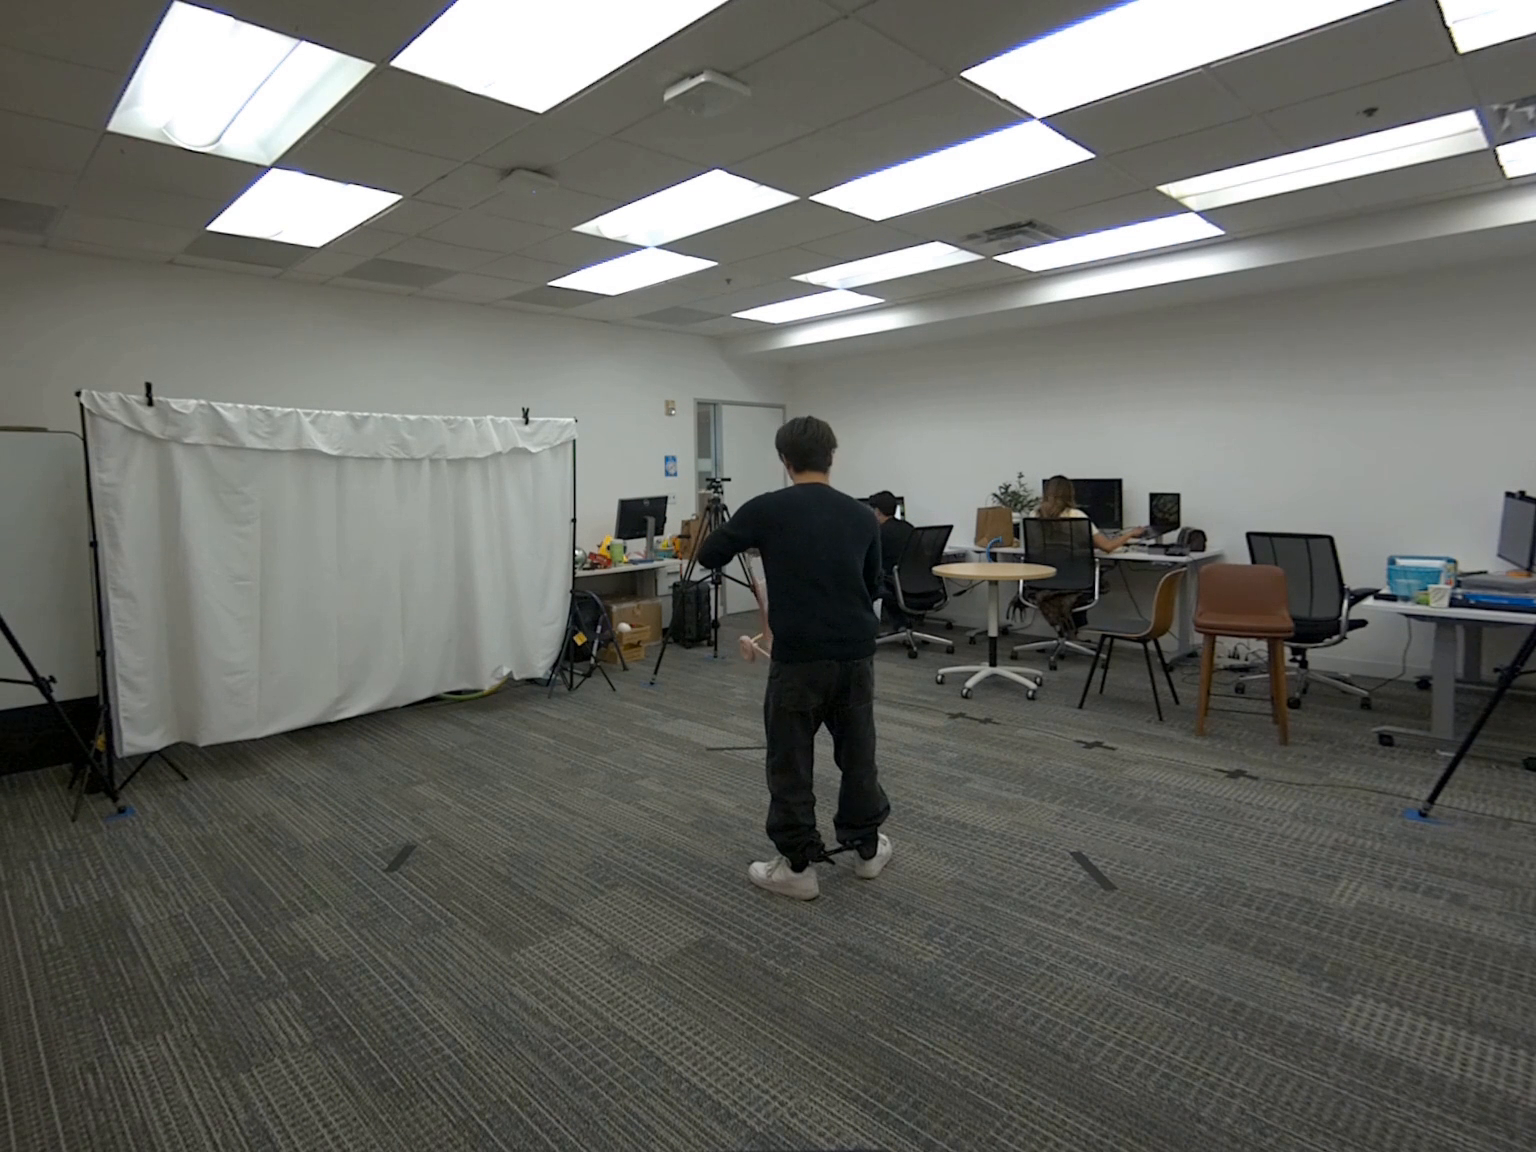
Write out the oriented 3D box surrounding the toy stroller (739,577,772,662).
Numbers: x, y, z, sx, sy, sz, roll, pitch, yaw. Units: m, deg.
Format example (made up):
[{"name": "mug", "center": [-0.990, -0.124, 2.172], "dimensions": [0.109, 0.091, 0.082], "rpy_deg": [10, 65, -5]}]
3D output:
[{"name": "toy stroller", "center": [0.087, 0.172, 3.282], "dimensions": [0.277, 0.521, 0.355], "rpy_deg": [-18, 37, -24]}]
